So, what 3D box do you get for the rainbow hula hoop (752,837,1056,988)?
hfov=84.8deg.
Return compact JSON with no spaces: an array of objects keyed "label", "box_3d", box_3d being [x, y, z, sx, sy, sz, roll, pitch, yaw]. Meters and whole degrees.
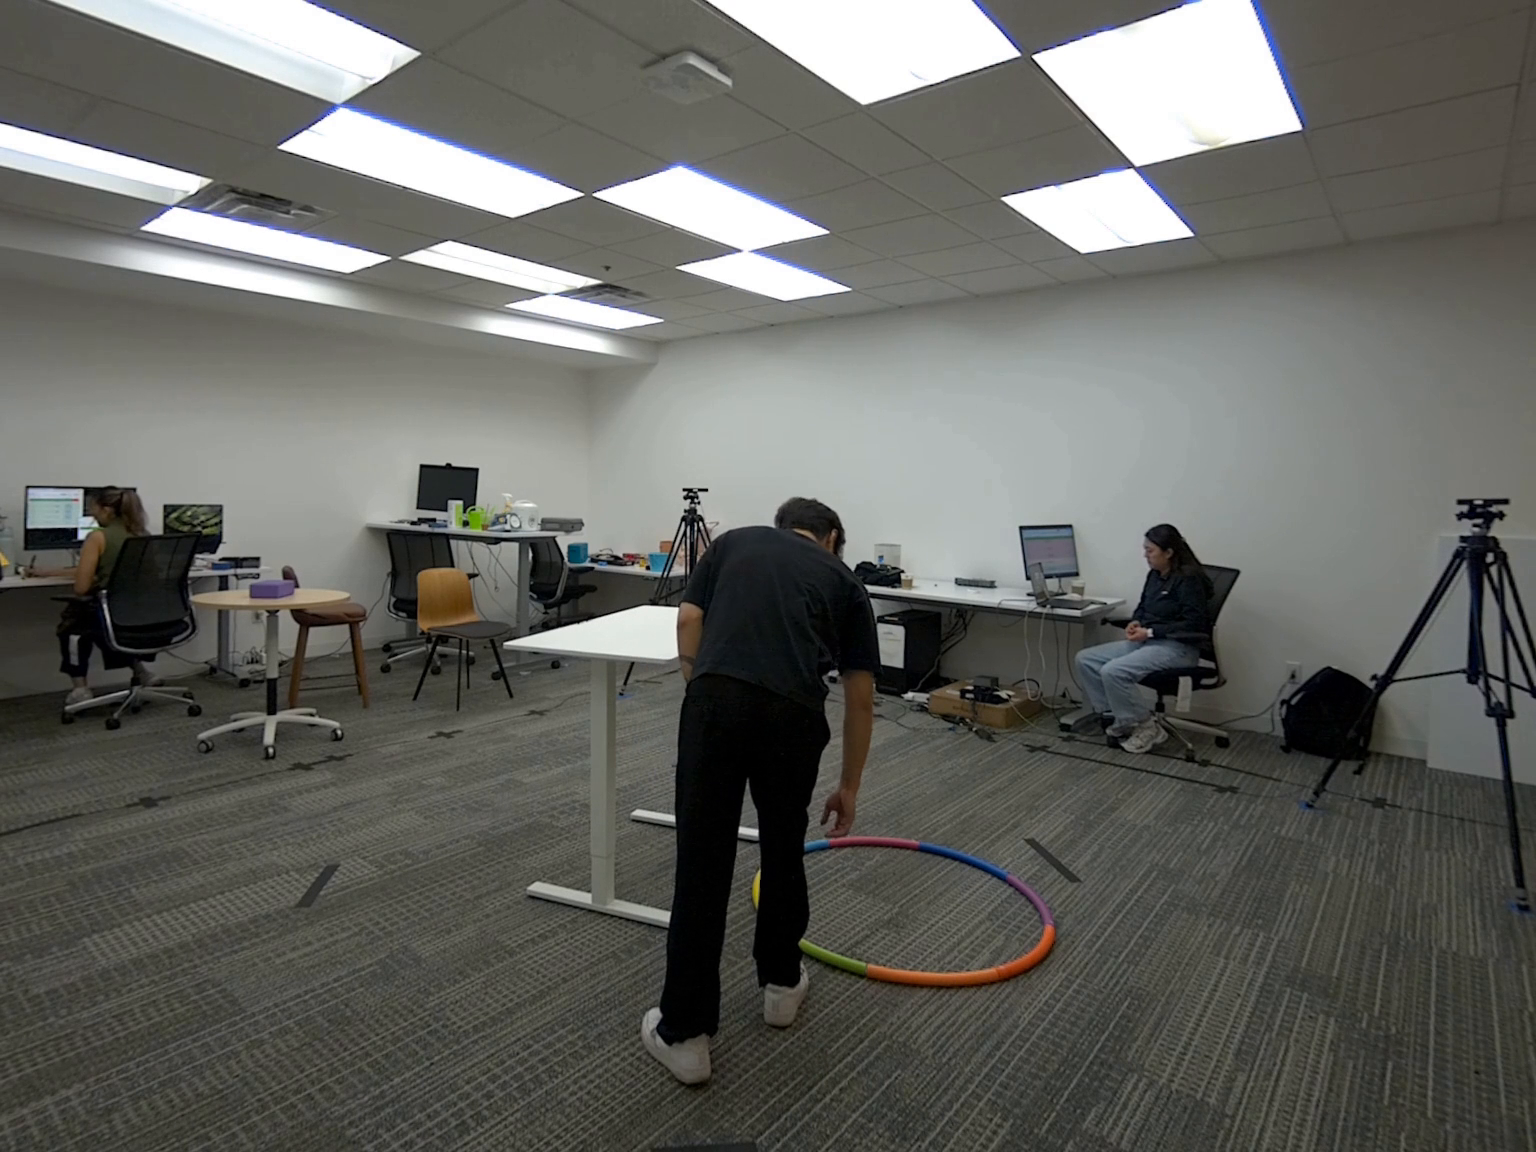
[{"label":"rainbow hula hoop","box_3d":[0.430,1.078,2.883,0.978,0.035,0.984,1,6,-2]}]
